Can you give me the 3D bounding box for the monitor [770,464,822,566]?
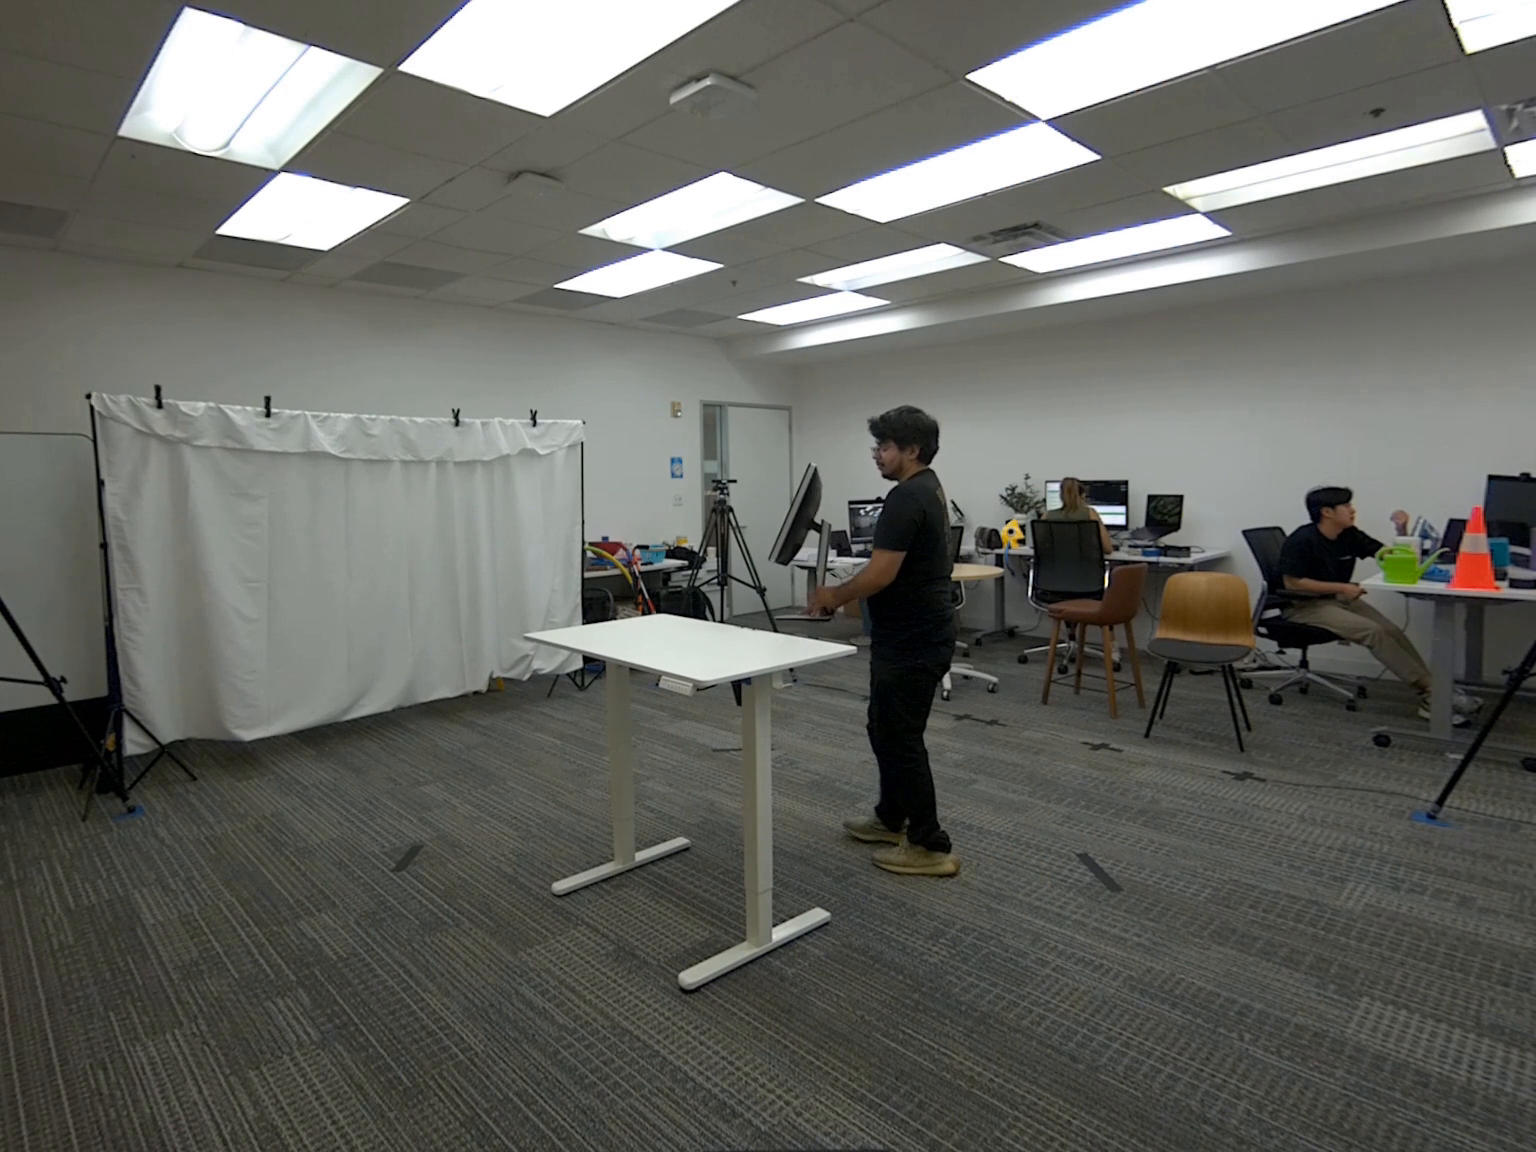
[{"bbox_3d":[0.172,-0.111,3.165,0.212,0.554,0.559,13,-1,7],"label":"monitor"}]
